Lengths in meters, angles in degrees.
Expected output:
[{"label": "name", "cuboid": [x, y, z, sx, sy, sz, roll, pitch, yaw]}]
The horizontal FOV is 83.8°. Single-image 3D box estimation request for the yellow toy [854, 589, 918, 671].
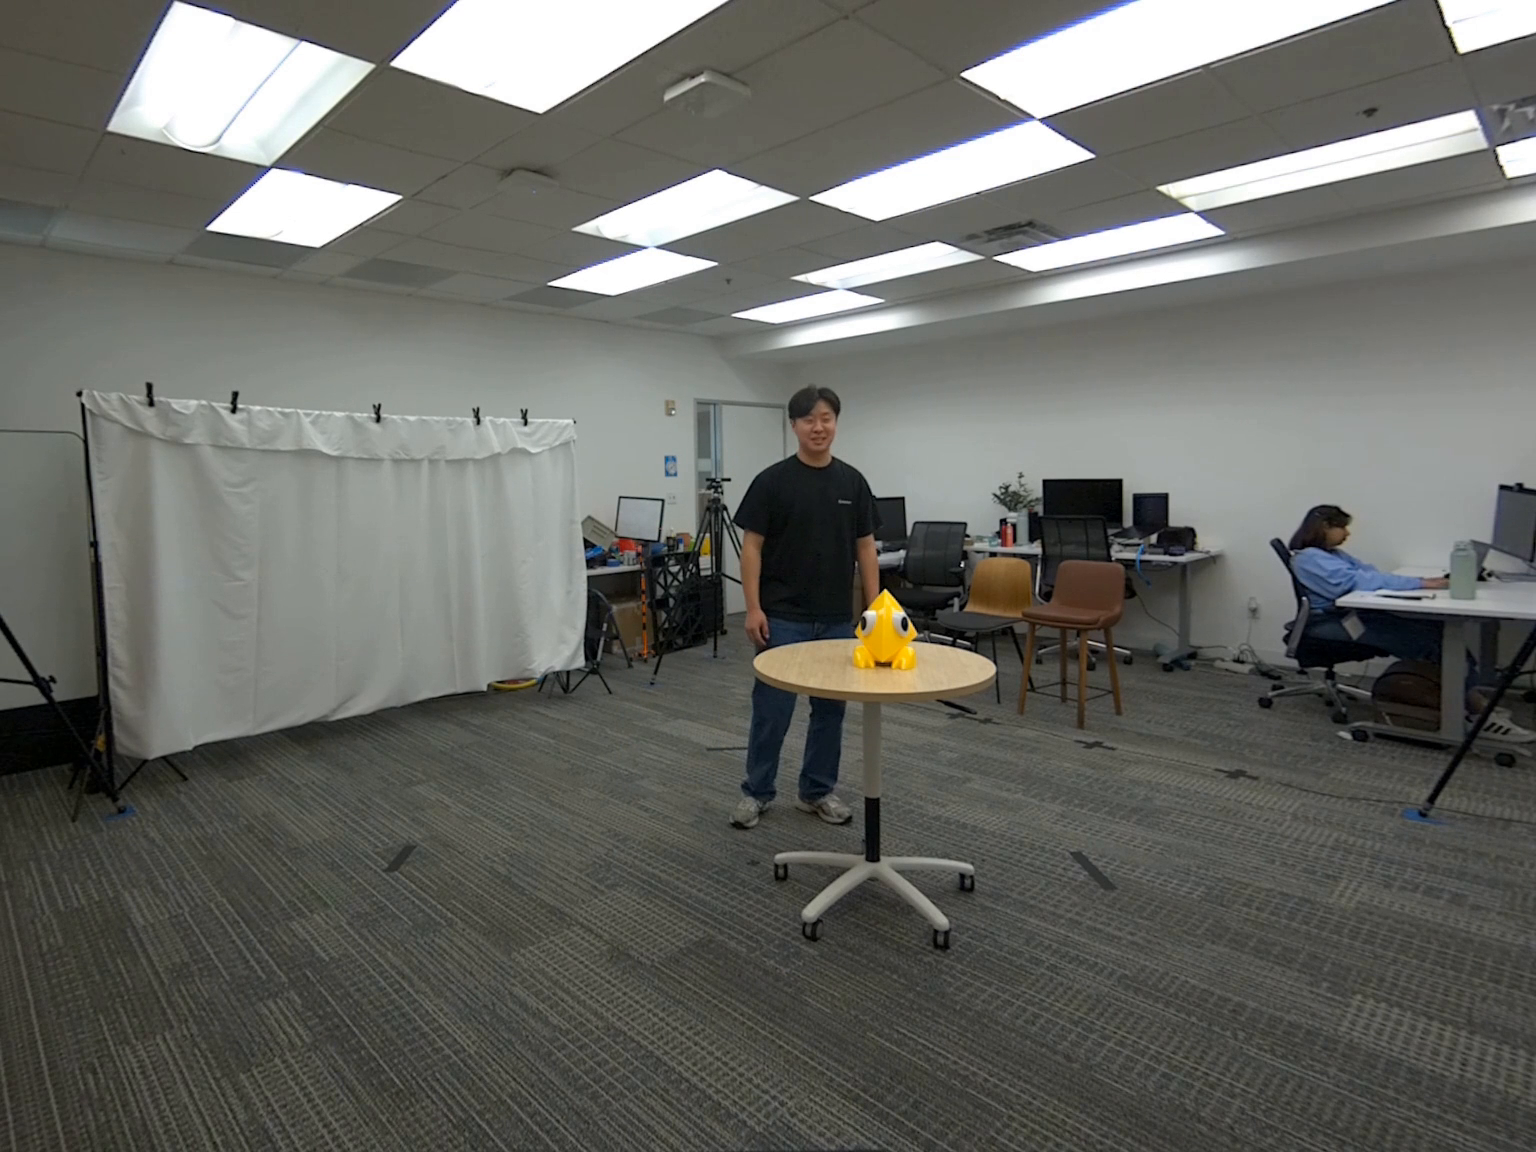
[{"label": "yellow toy", "cuboid": [0.372, 0.168, 2.738, 0.207, 0.230, 0.191, 0, 5, 13]}]
